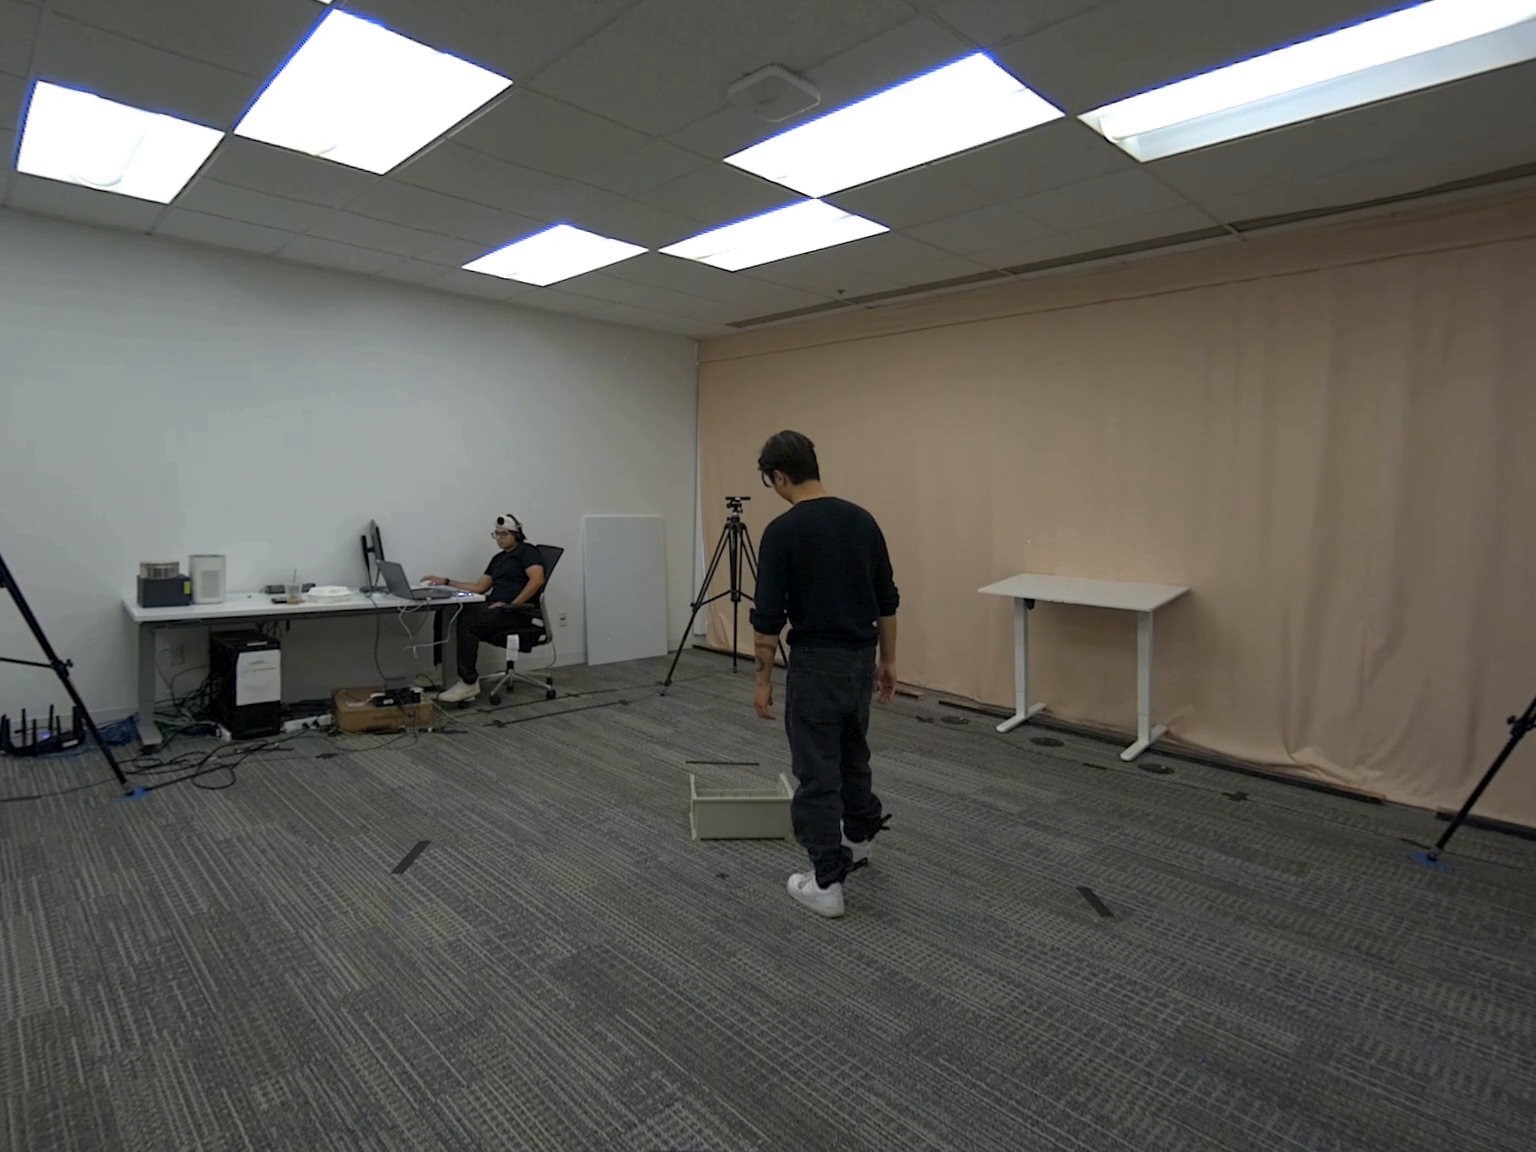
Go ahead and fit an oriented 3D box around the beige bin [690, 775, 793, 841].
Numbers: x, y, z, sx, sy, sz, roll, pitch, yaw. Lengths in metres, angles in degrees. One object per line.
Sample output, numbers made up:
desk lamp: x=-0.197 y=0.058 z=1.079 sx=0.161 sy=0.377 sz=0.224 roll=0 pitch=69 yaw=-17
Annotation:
beige bin: x=-0.130 y=0.993 z=3.615 sx=0.420 sy=0.188 sz=0.381 roll=1 pitch=7 yaw=-5
